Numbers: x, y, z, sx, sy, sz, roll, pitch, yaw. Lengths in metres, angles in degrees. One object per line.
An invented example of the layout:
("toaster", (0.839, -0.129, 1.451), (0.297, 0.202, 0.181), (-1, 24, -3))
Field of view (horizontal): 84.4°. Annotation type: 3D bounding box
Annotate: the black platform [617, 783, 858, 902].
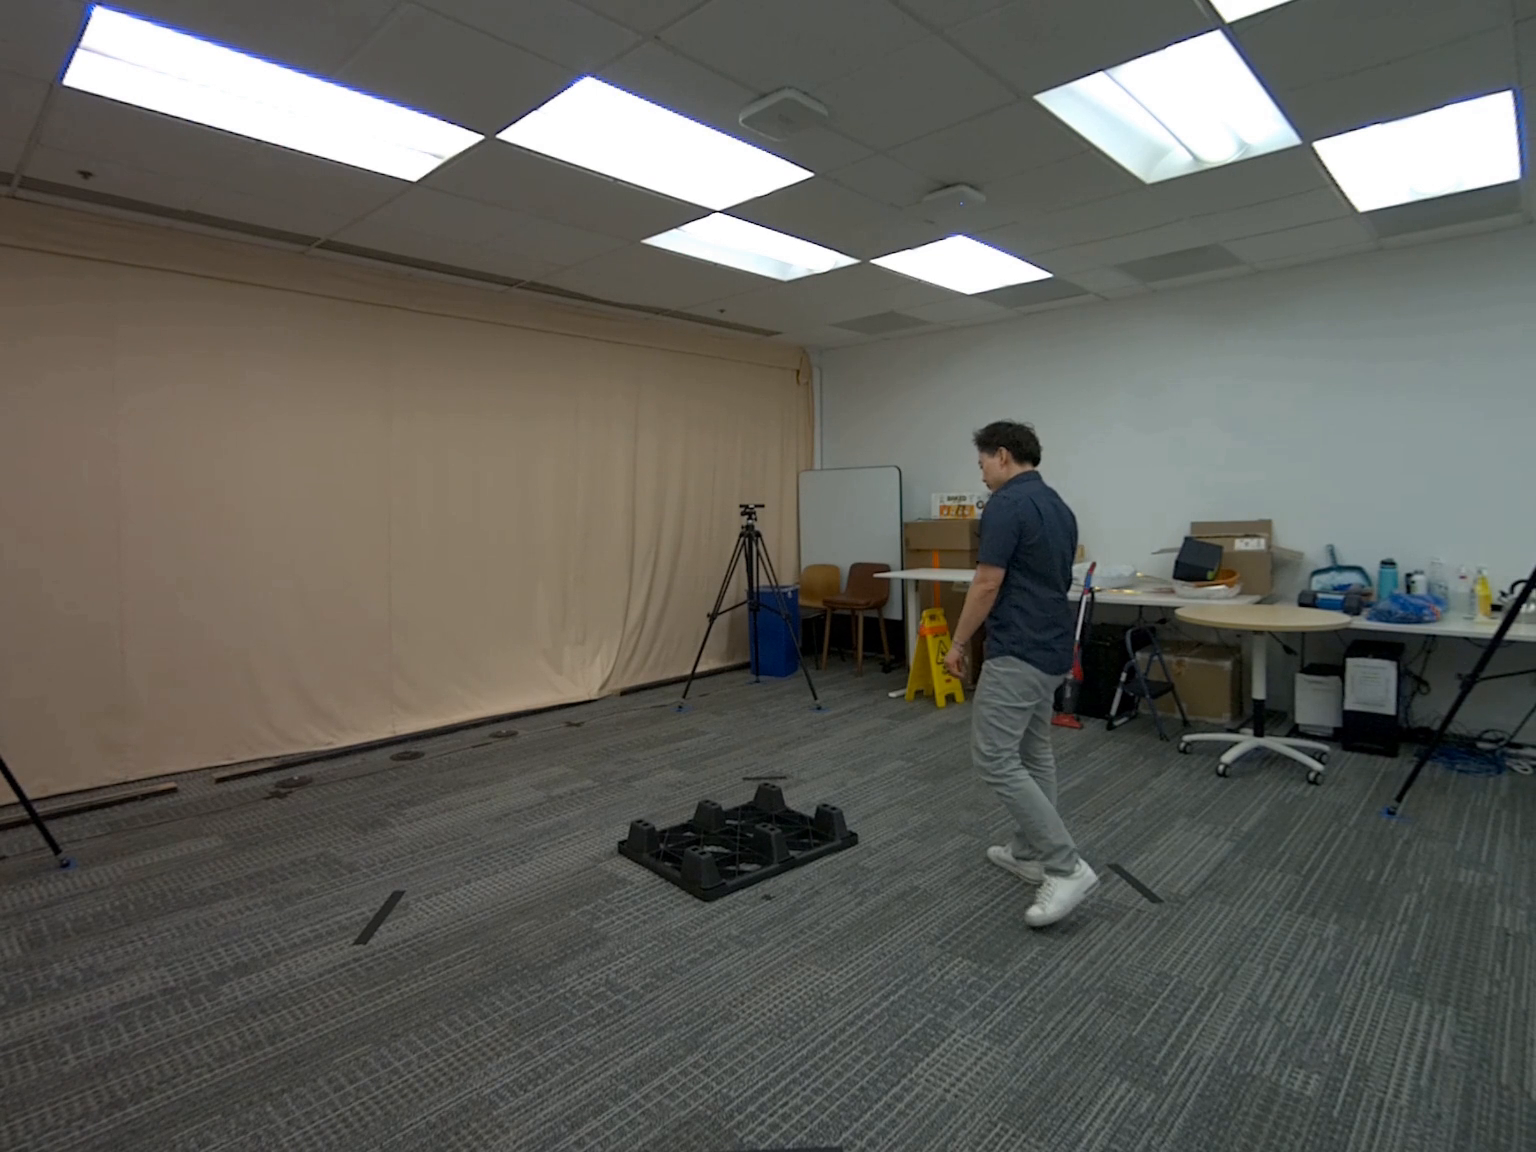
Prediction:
("black platform", (-0.119, 1.038, 3.426), (0.781, 0.143, 0.625), (-5, 6, -40))
